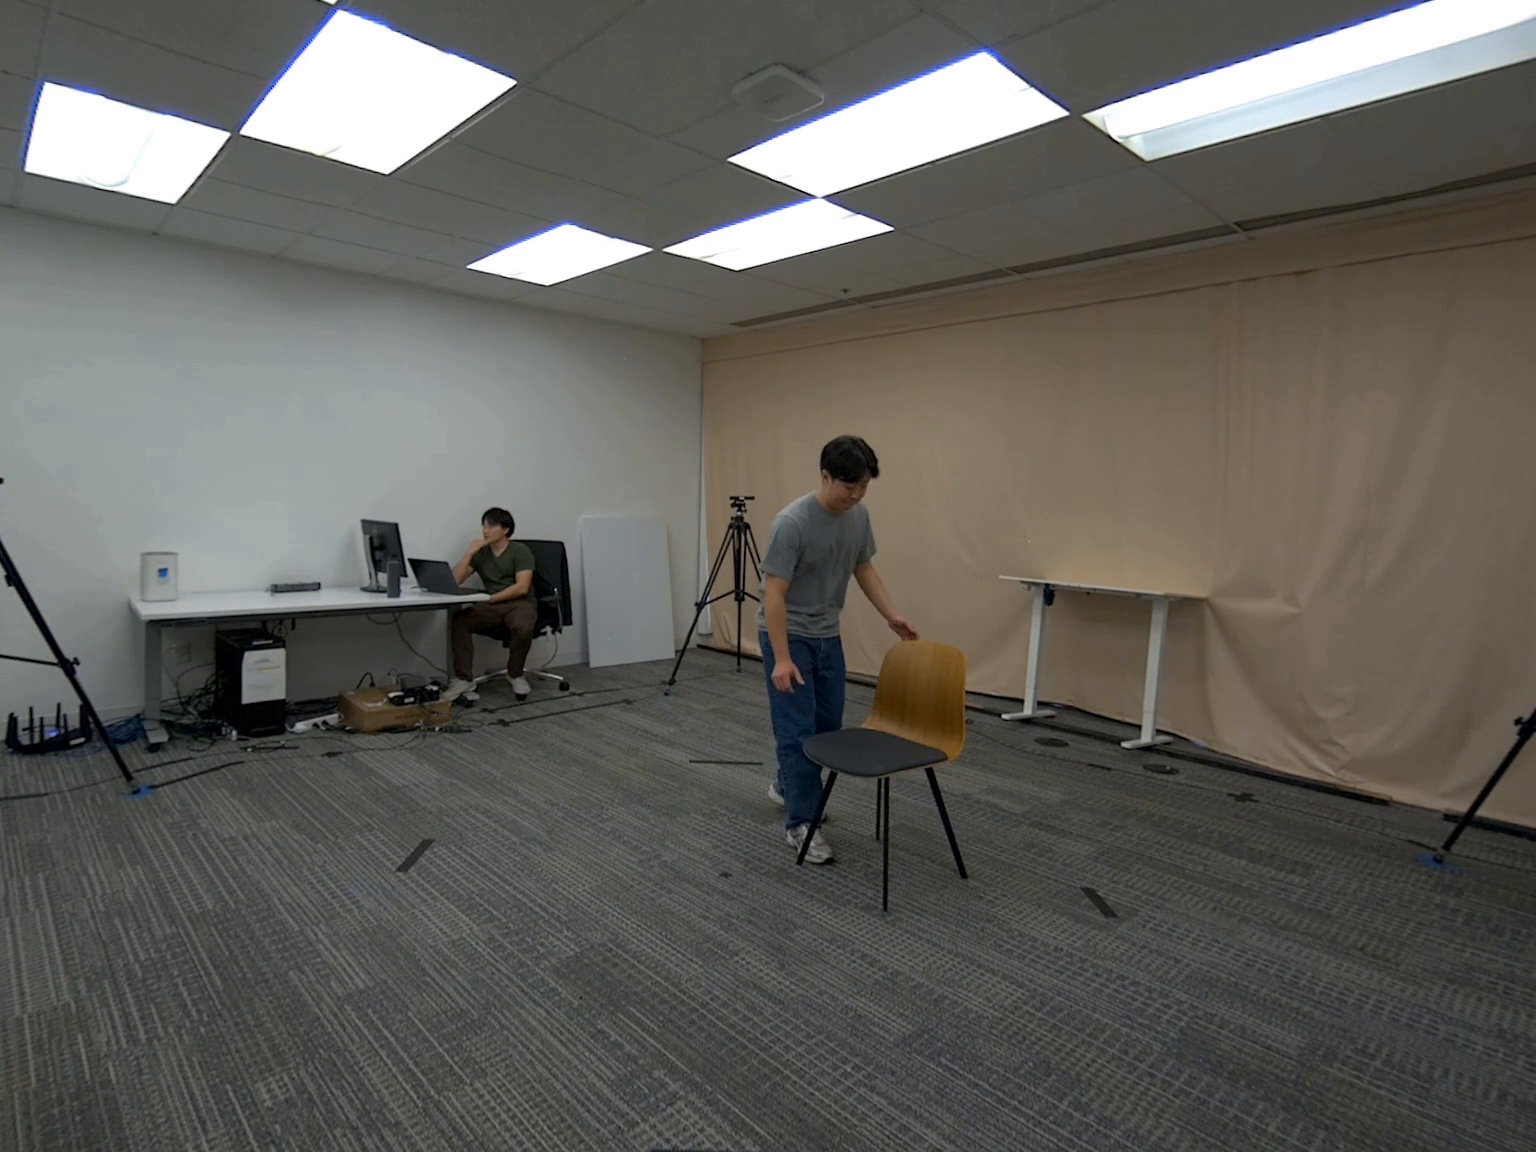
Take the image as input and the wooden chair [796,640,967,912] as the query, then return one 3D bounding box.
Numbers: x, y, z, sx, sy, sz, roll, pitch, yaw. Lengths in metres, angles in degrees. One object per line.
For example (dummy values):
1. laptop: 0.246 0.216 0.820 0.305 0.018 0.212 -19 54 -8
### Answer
1. wooden chair: 0.421 0.686 3.128 0.510 0.877 0.490 4 1 -39
